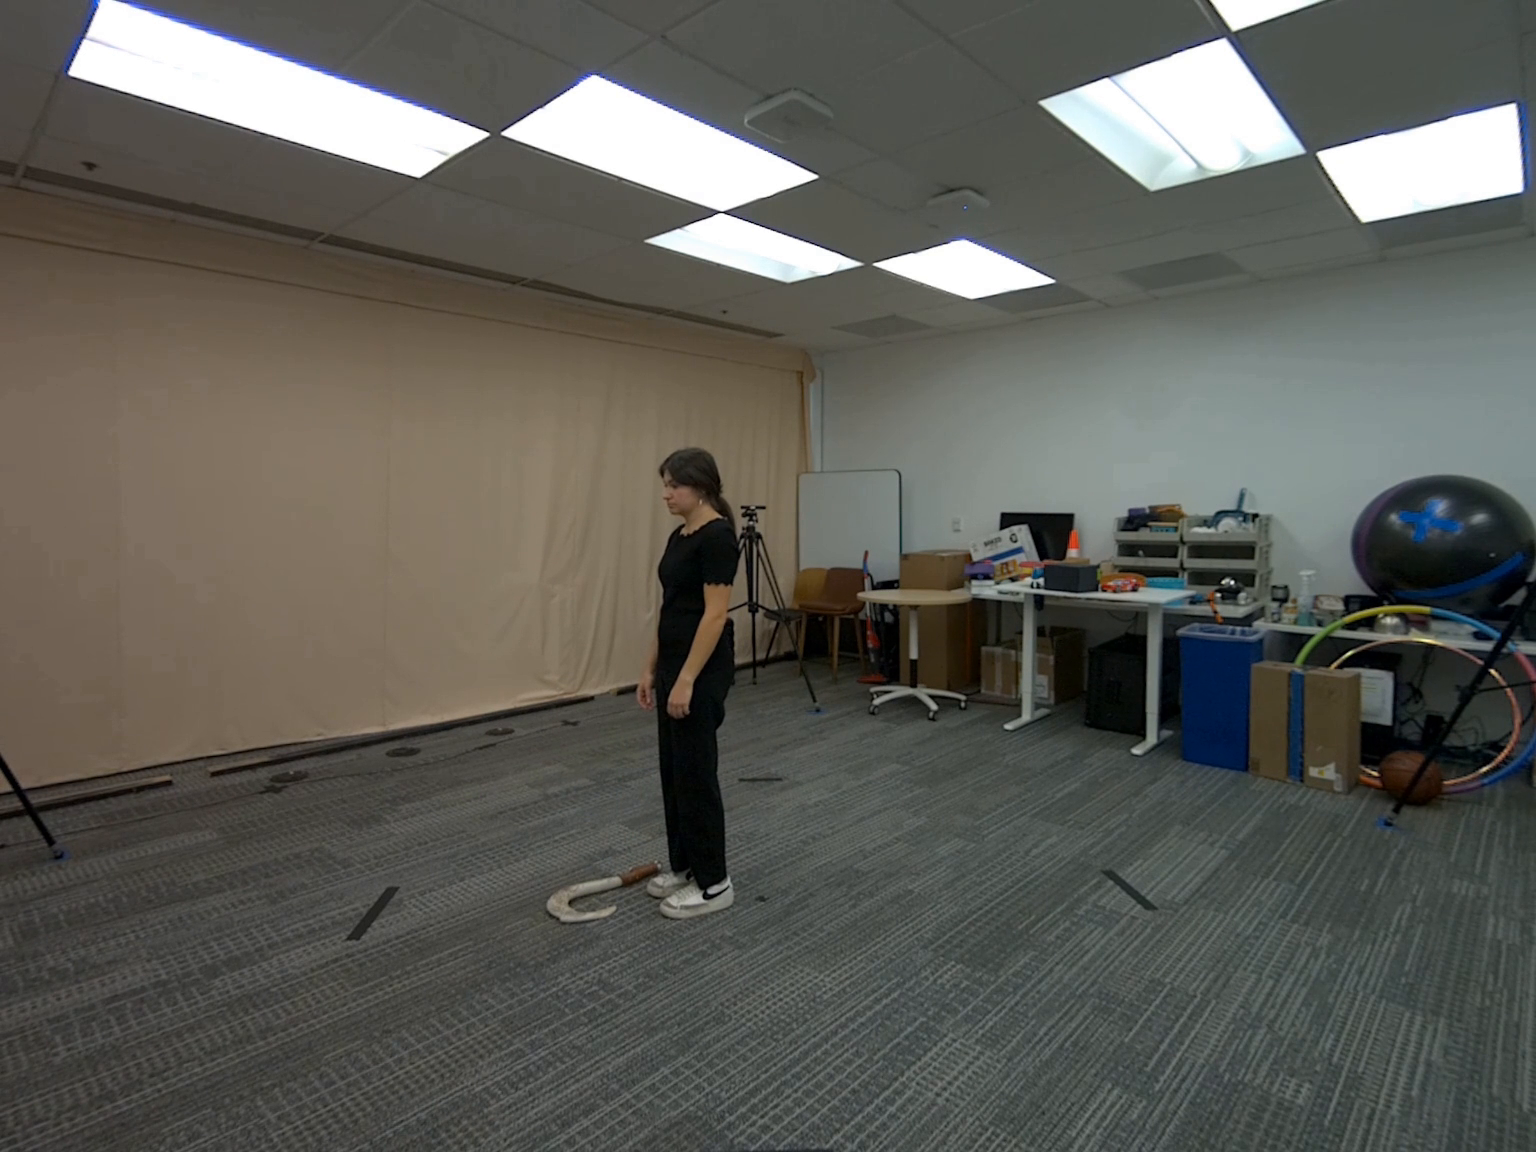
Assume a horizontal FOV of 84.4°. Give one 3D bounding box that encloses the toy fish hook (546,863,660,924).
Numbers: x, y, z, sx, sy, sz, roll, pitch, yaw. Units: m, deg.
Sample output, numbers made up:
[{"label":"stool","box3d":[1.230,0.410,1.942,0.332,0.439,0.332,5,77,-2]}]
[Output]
[{"label":"toy fish hook","box3d":[-0.548,1.135,3.012,0.491,0.048,0.233,-5,15,-44]}]
